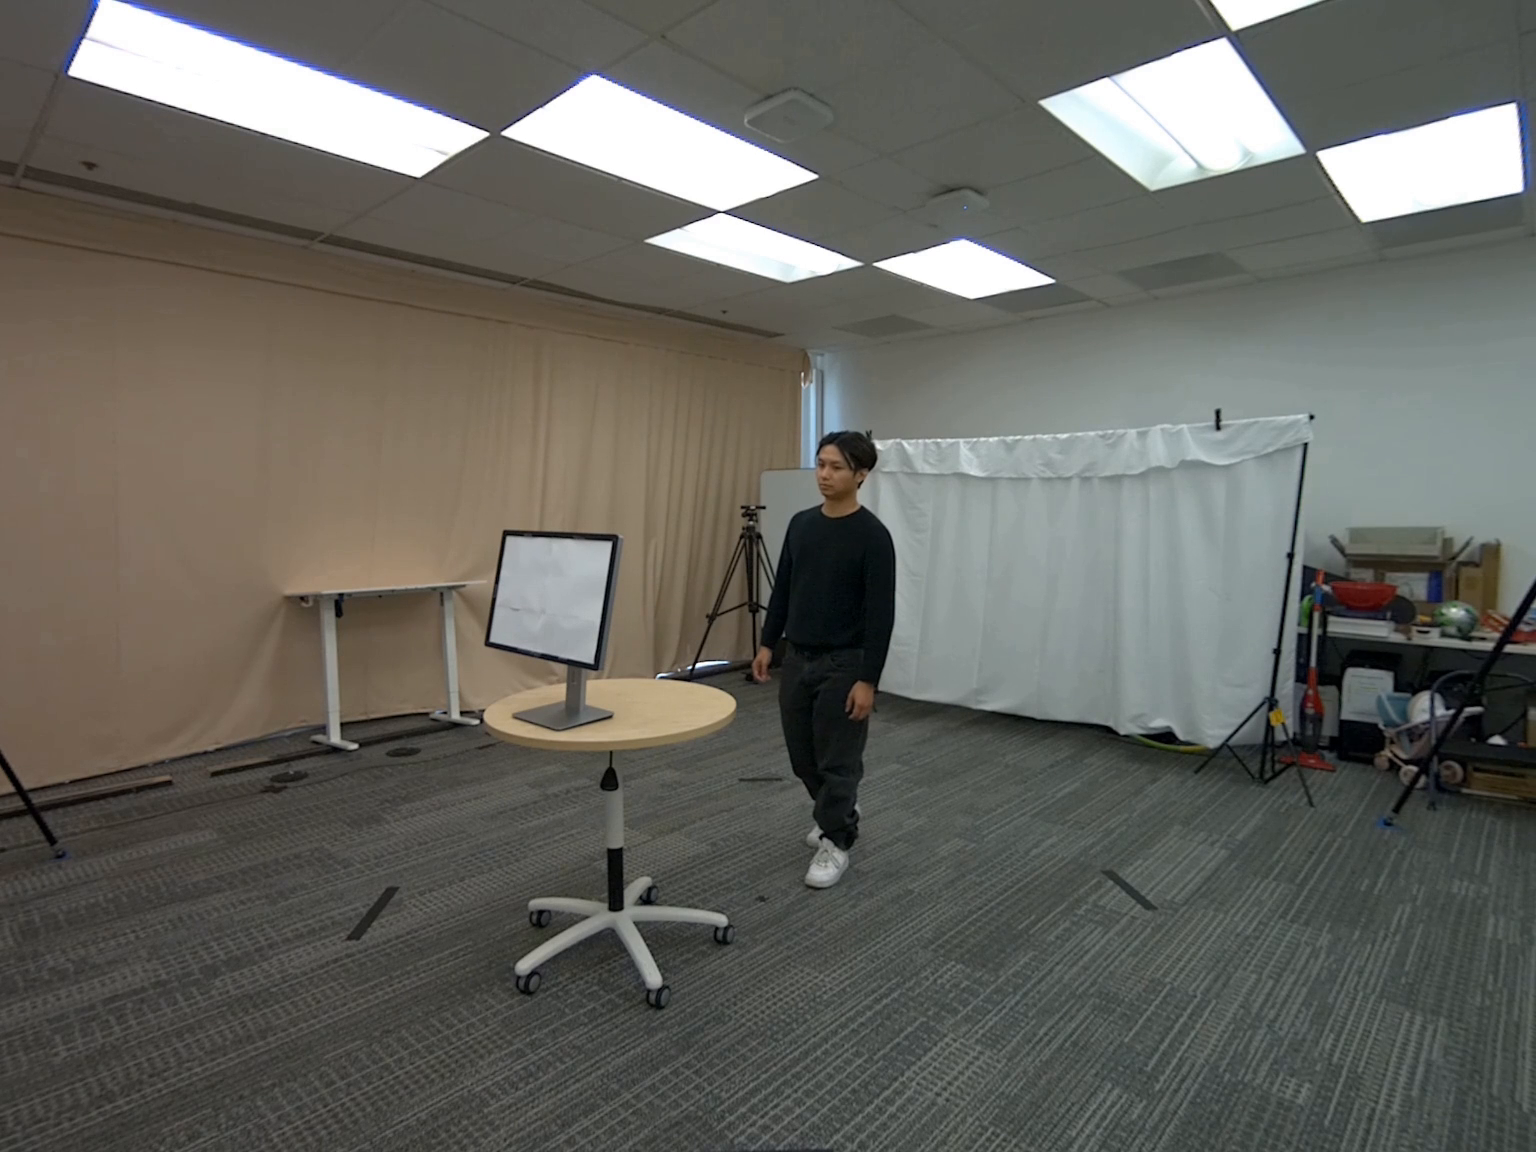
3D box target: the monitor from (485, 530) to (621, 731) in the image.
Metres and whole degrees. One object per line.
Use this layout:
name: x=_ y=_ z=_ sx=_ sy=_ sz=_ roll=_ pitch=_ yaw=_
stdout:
monitor: x=-0.600 y=0.152 z=2.435 sx=0.557 sy=0.521 sz=0.181 roll=3 pitch=6 yaw=40
